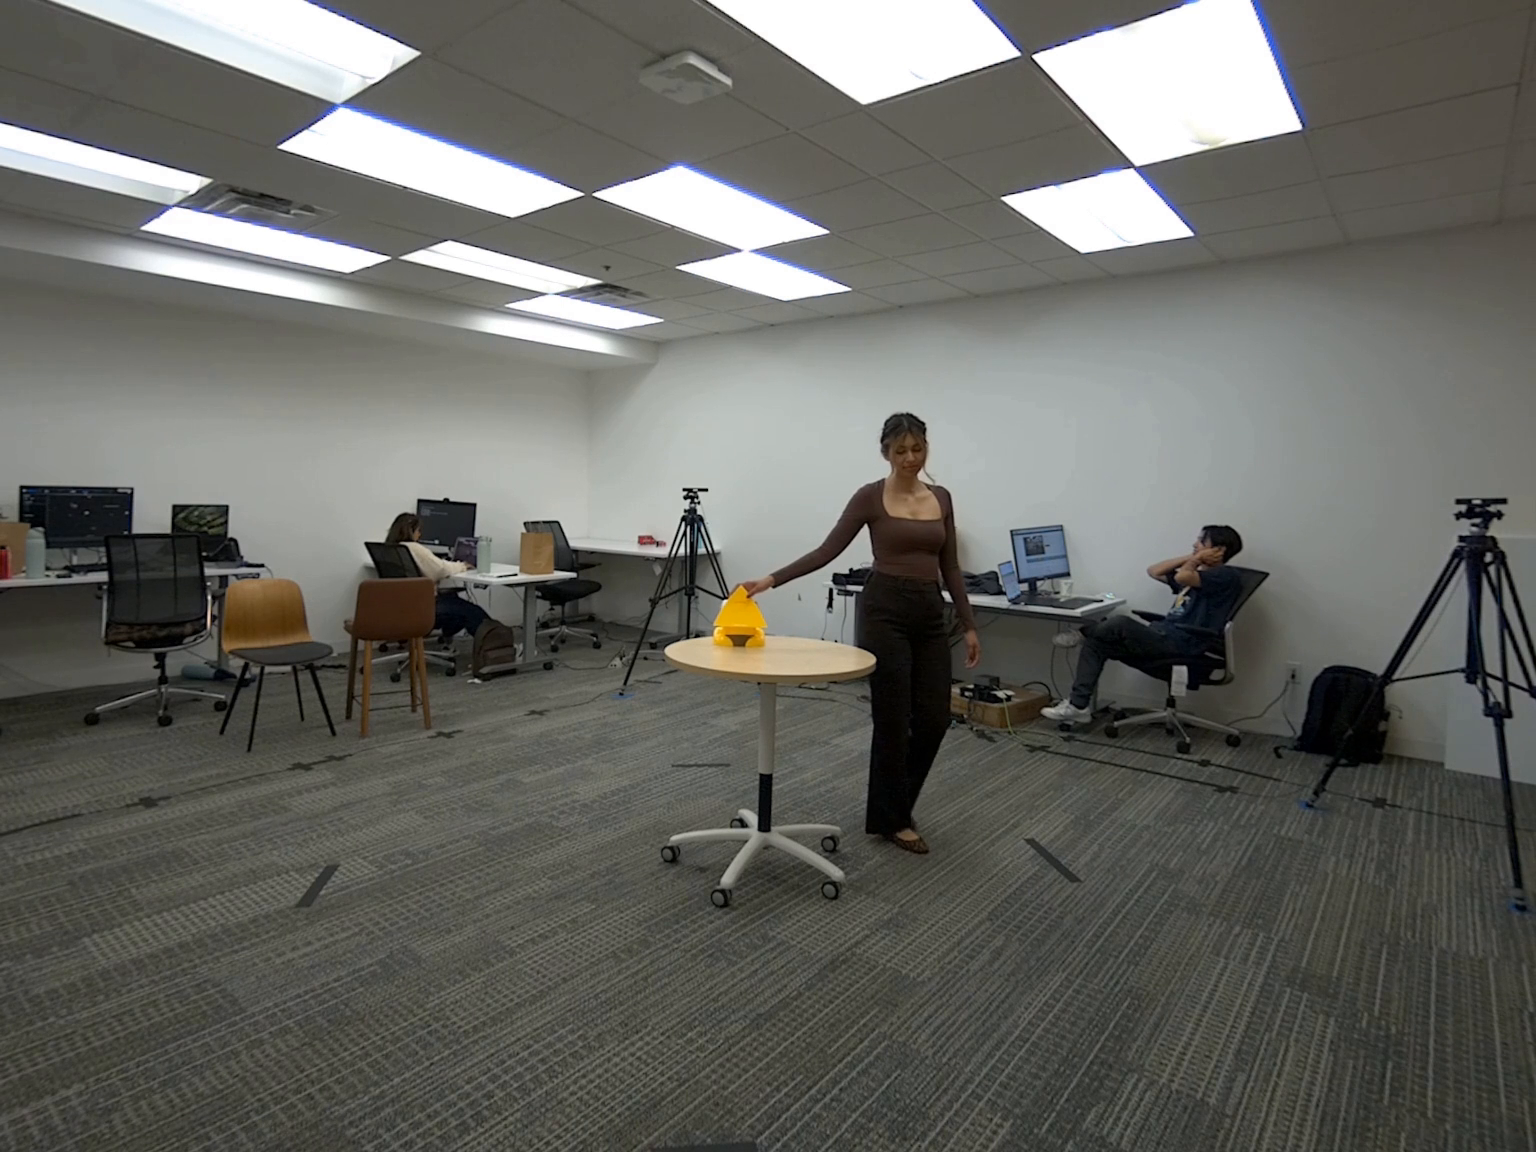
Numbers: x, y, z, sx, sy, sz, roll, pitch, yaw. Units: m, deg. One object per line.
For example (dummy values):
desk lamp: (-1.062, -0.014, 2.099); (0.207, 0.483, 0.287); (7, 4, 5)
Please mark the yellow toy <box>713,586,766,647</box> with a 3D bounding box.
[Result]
yellow toy: (-0.118, 0.142, 3.280); (0.204, 0.230, 0.194); (1, 4, -2)
